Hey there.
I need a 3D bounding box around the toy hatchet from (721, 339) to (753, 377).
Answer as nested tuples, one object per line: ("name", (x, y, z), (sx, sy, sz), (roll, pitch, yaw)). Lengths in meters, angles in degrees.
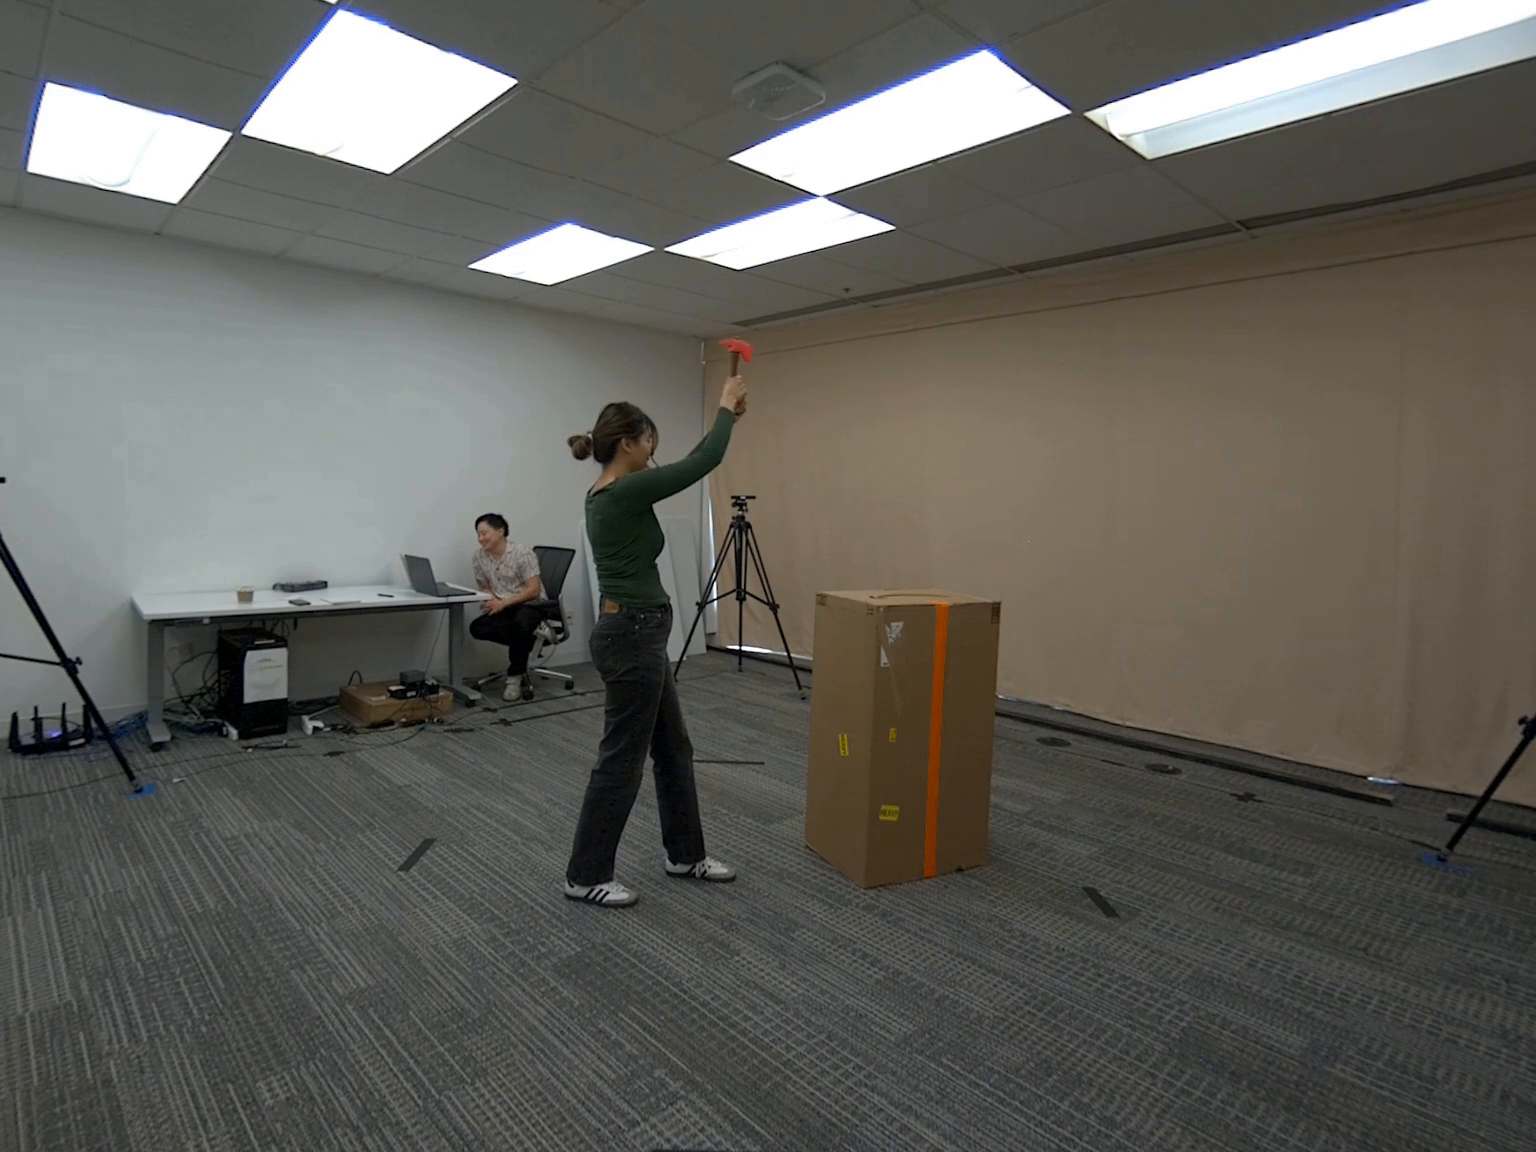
("toy hatchet", (-0.100, -0.713, 3.015), (0.129, 0.268, 0.030), (-15, 9, -28))
